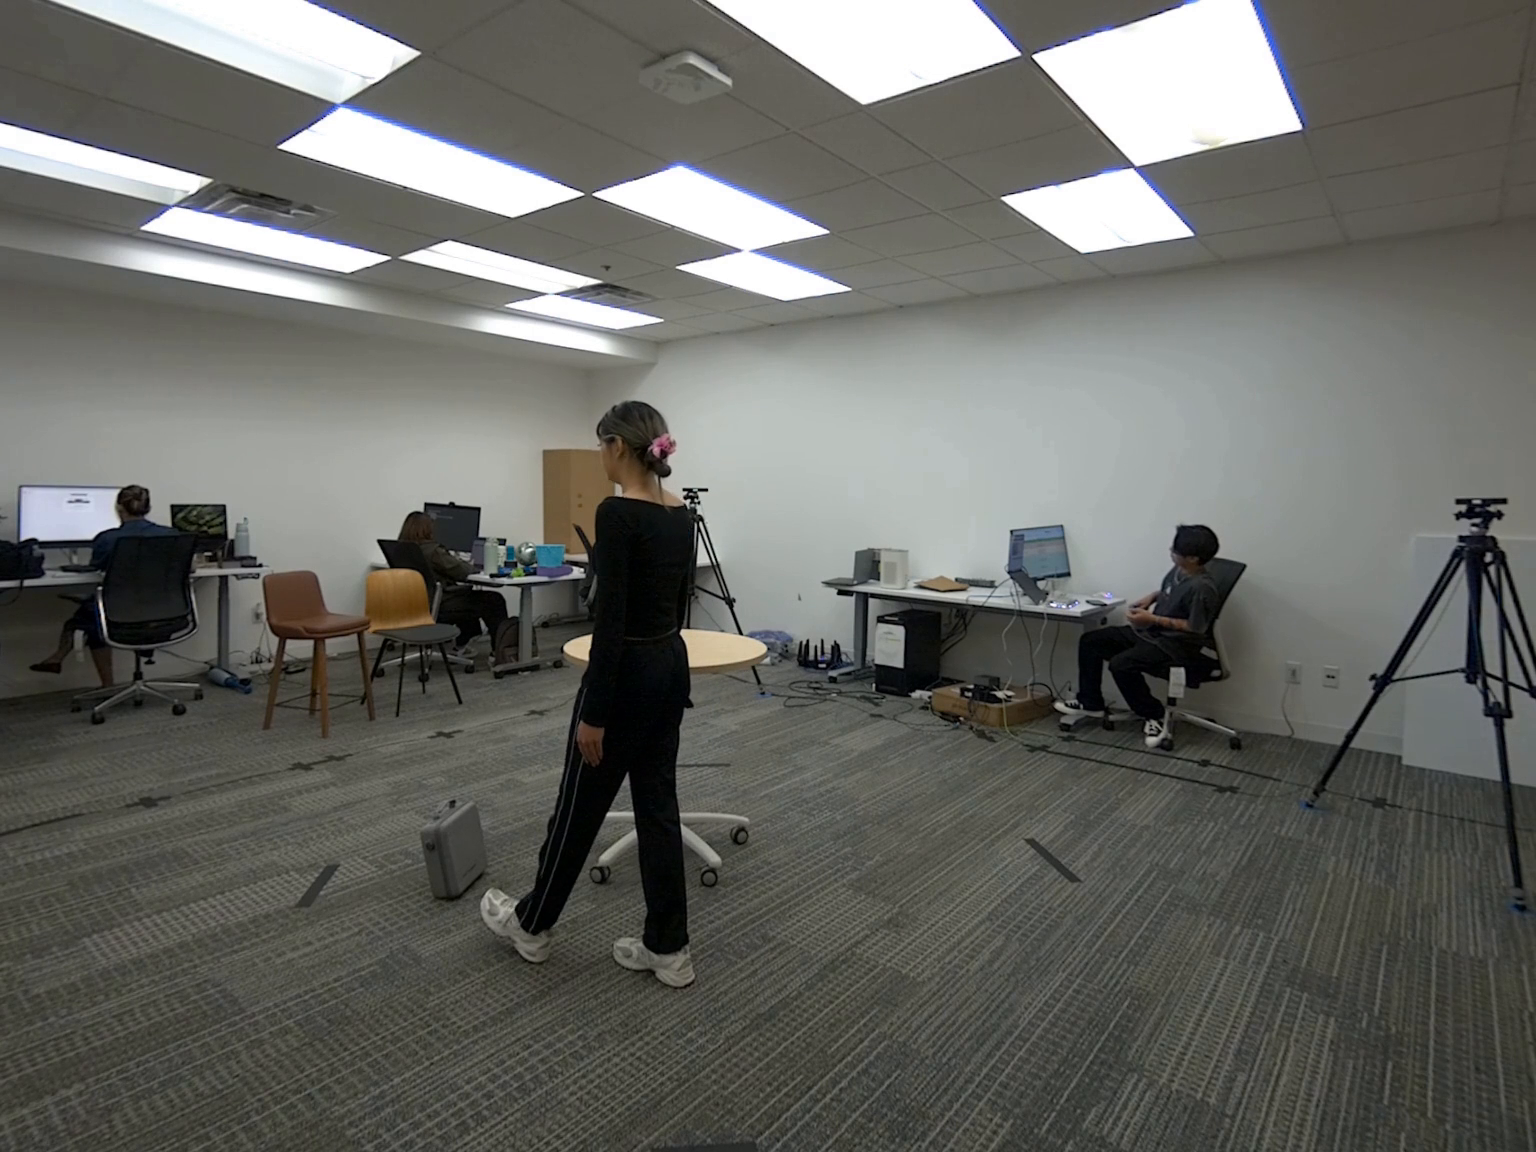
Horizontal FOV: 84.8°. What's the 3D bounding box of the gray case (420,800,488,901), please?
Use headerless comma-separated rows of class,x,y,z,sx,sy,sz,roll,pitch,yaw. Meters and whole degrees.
gray case,-1.095,0.941,2.948,0.105,0.260,0.255,-9,2,7
